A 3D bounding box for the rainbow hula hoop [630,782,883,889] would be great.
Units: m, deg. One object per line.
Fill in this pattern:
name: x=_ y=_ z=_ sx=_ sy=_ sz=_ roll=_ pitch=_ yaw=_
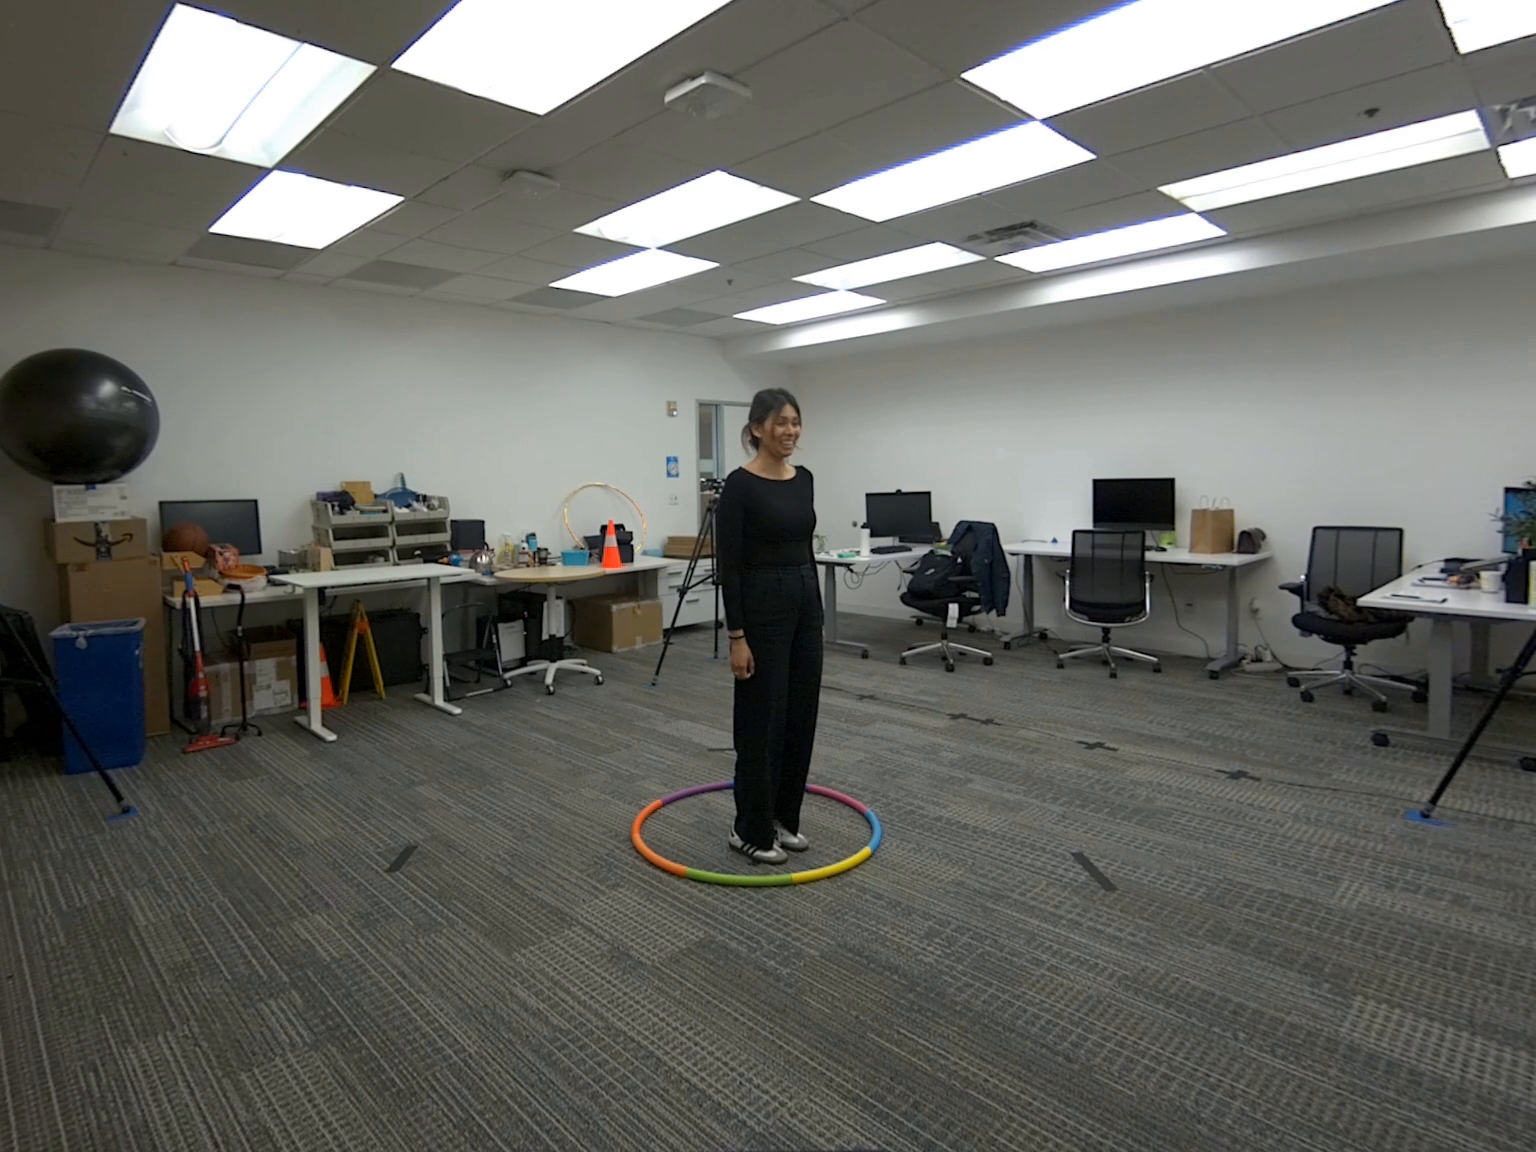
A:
rainbow hula hoop: x=-0.045 y=0.983 z=3.400 sx=0.978 sy=0.035 sz=0.984 roll=-1 pitch=6 yaw=-2
